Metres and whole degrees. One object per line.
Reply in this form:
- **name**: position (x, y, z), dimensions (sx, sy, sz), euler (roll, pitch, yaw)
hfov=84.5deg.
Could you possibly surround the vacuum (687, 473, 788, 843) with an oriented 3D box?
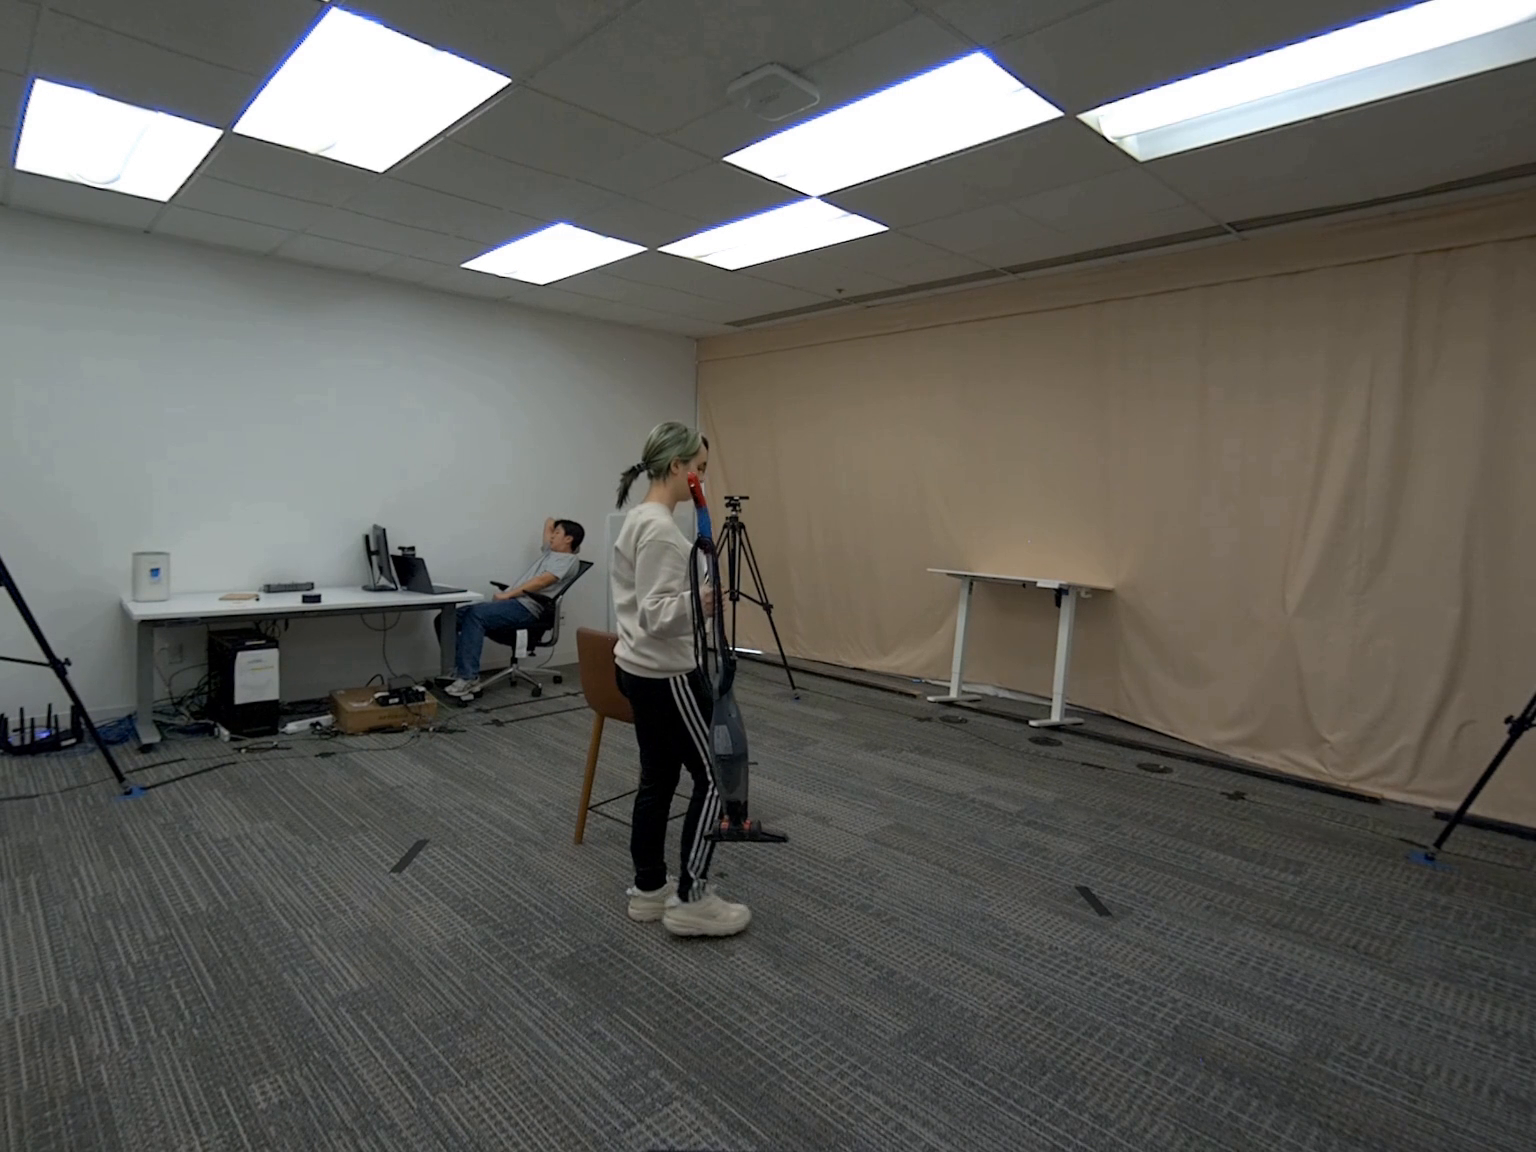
- **vacuum**: position (-0.140, 0.248, 2.342), dimensions (0.255, 1.041, 0.143), euler (-4, 10, 14)
